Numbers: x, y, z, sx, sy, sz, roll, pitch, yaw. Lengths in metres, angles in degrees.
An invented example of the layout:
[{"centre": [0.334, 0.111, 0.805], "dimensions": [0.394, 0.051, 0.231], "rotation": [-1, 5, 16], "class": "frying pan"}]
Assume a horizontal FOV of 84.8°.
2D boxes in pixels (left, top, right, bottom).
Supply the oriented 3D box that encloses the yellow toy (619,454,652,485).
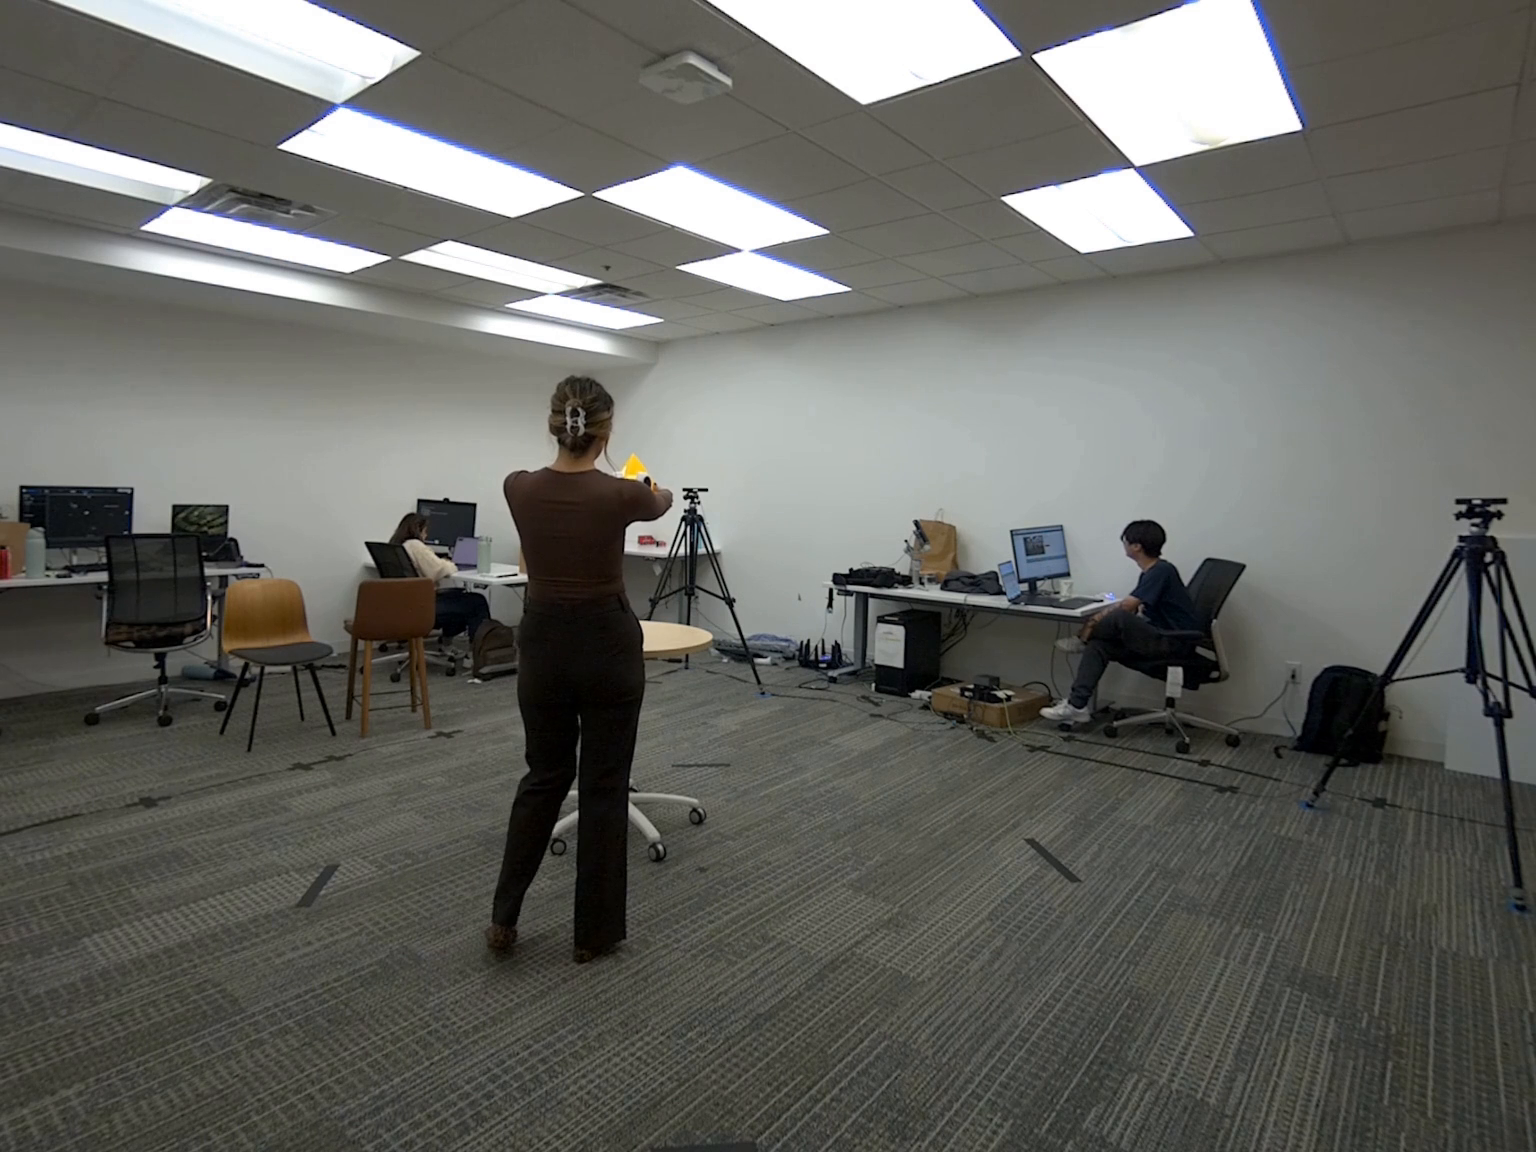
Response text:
[{"centre": [-0.507, -0.321, 3.022], "dimensions": [0.206, 0.229, 0.193], "rotation": [3, 6, 3], "class": "yellow toy"}]
